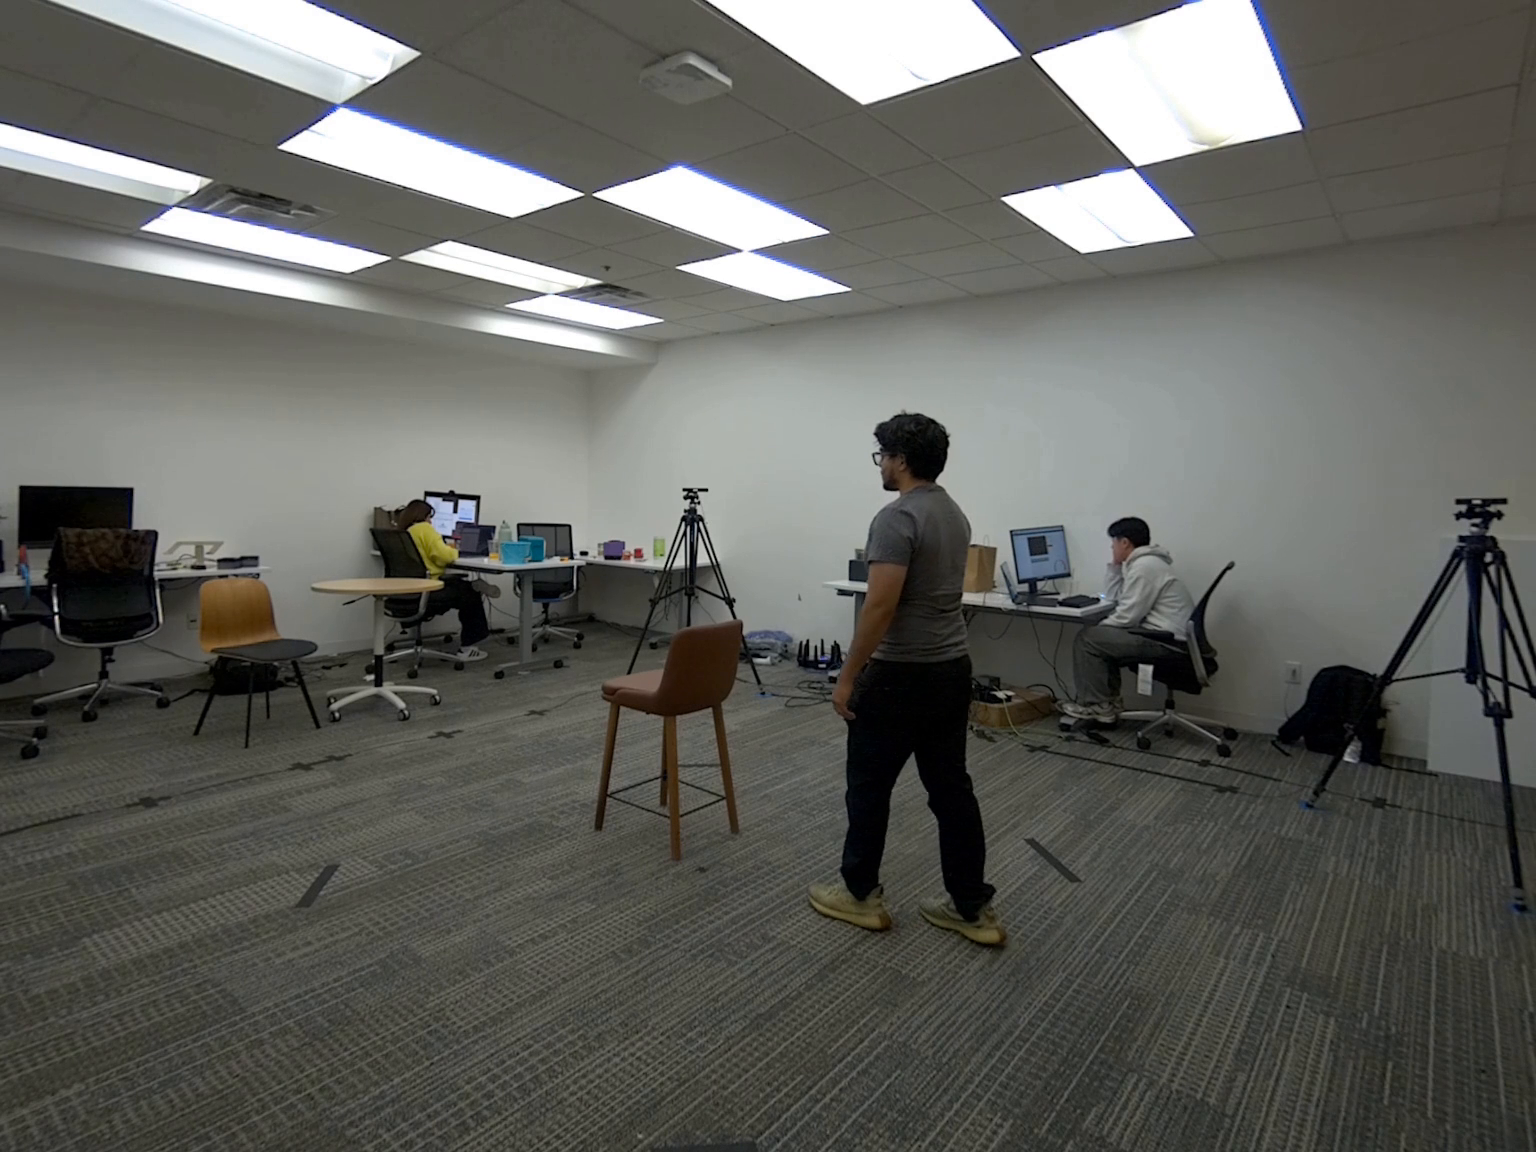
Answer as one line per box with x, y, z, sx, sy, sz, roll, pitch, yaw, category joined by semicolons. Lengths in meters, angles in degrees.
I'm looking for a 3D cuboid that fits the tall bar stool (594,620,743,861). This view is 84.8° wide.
-0.405;0.599;3.441;0.483;0.887;0.443;6;5;39;tall bar stool
